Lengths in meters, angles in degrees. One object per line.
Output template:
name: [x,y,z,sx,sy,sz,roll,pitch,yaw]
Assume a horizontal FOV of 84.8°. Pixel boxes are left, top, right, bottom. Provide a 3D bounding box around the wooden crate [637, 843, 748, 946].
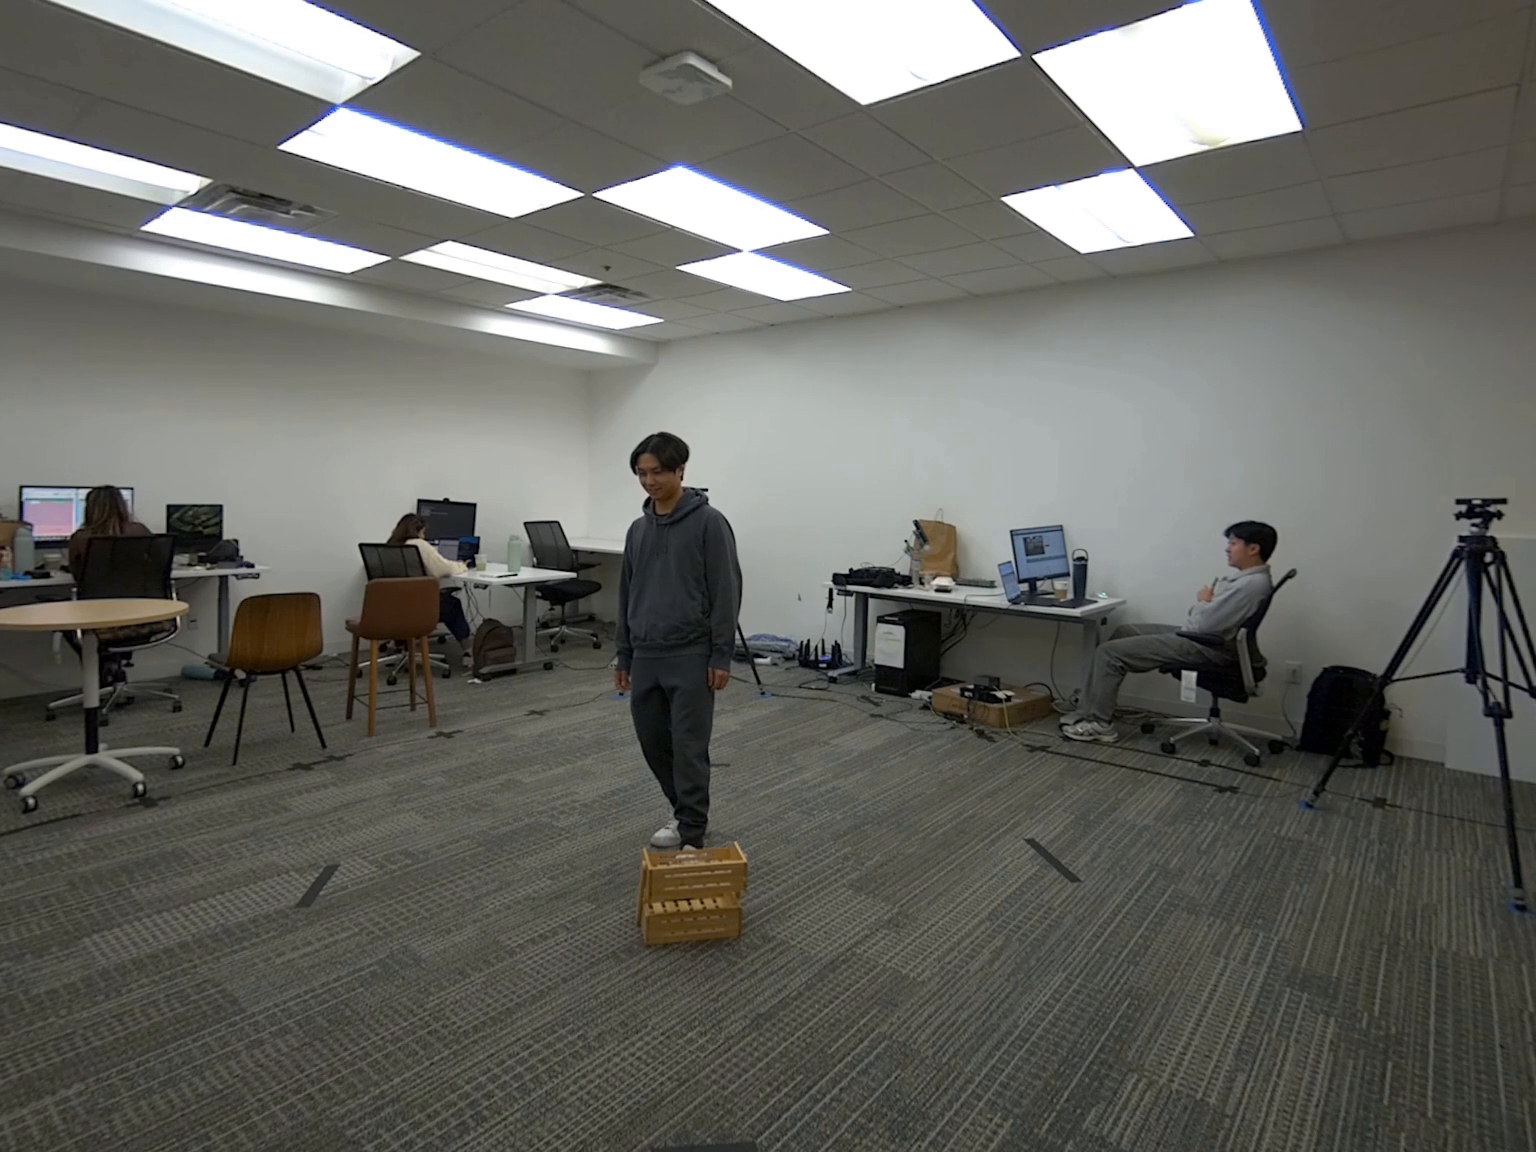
wooden crate: [-0.258,0.971,2.704,0.320,0.272,0.308,0,5,-14]
